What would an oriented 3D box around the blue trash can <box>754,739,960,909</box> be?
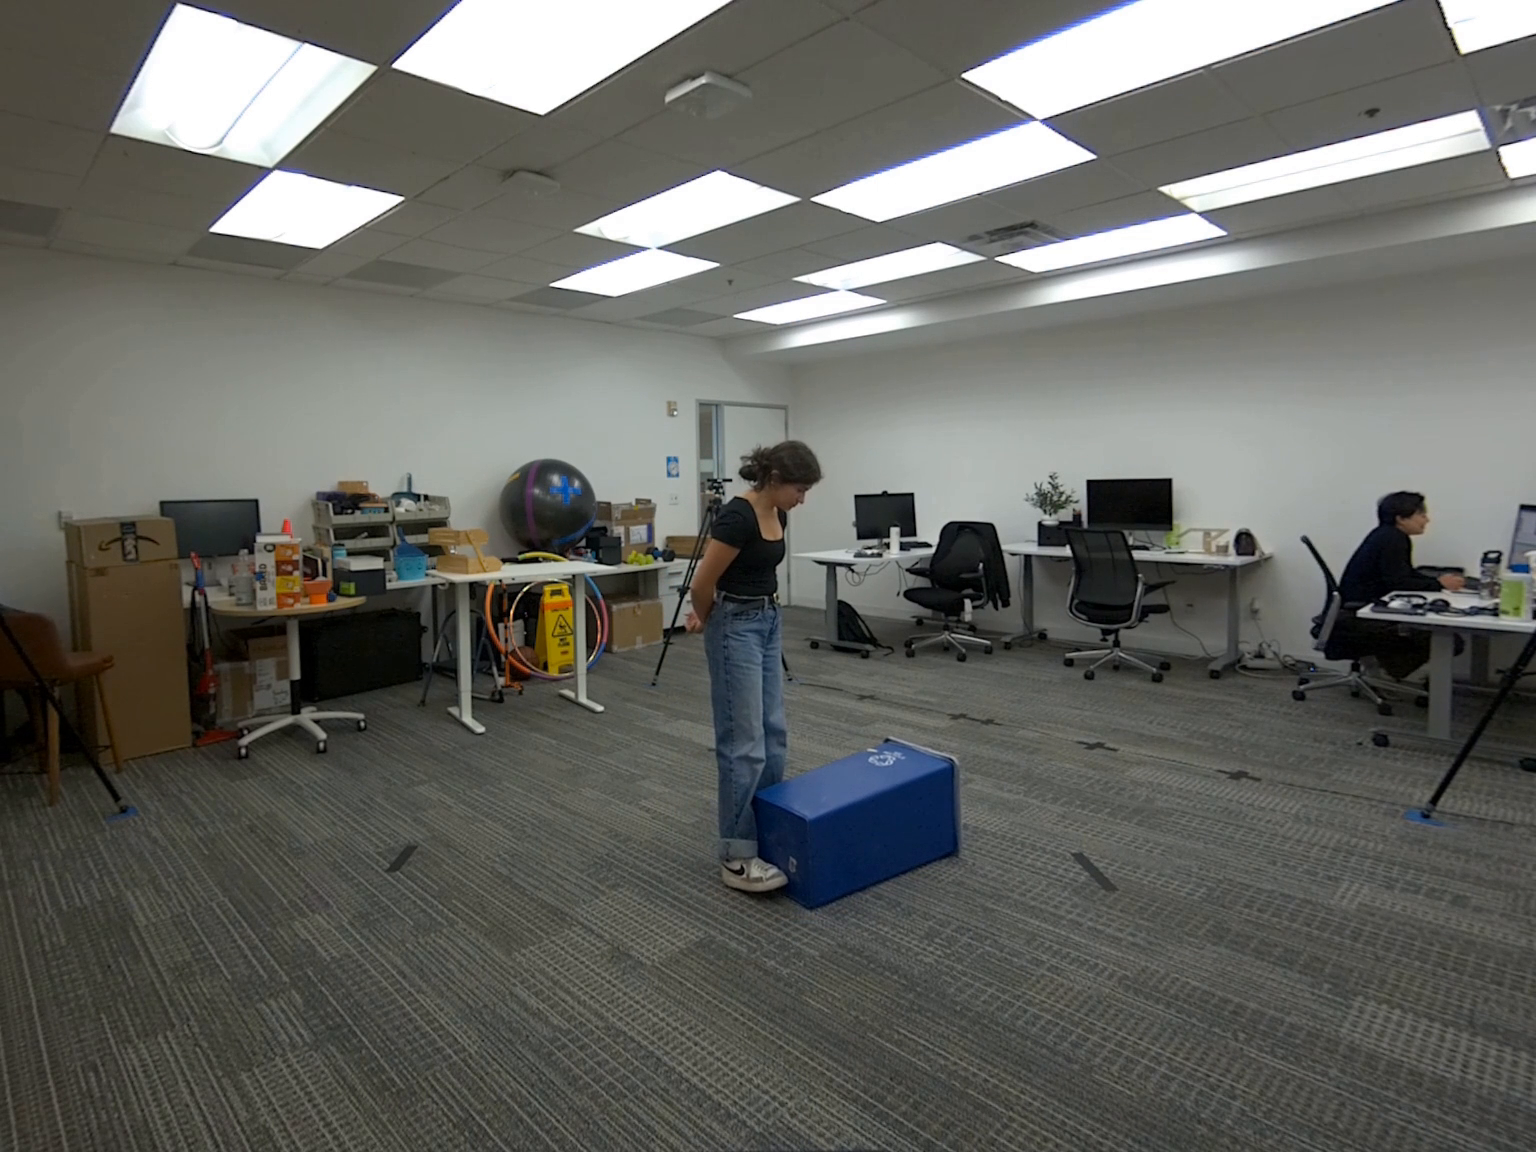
[{"bbox_3d":[0.320,0.873,3.063,0.696,0.376,0.385,-9,9,-37],"label":"blue trash can"}]
